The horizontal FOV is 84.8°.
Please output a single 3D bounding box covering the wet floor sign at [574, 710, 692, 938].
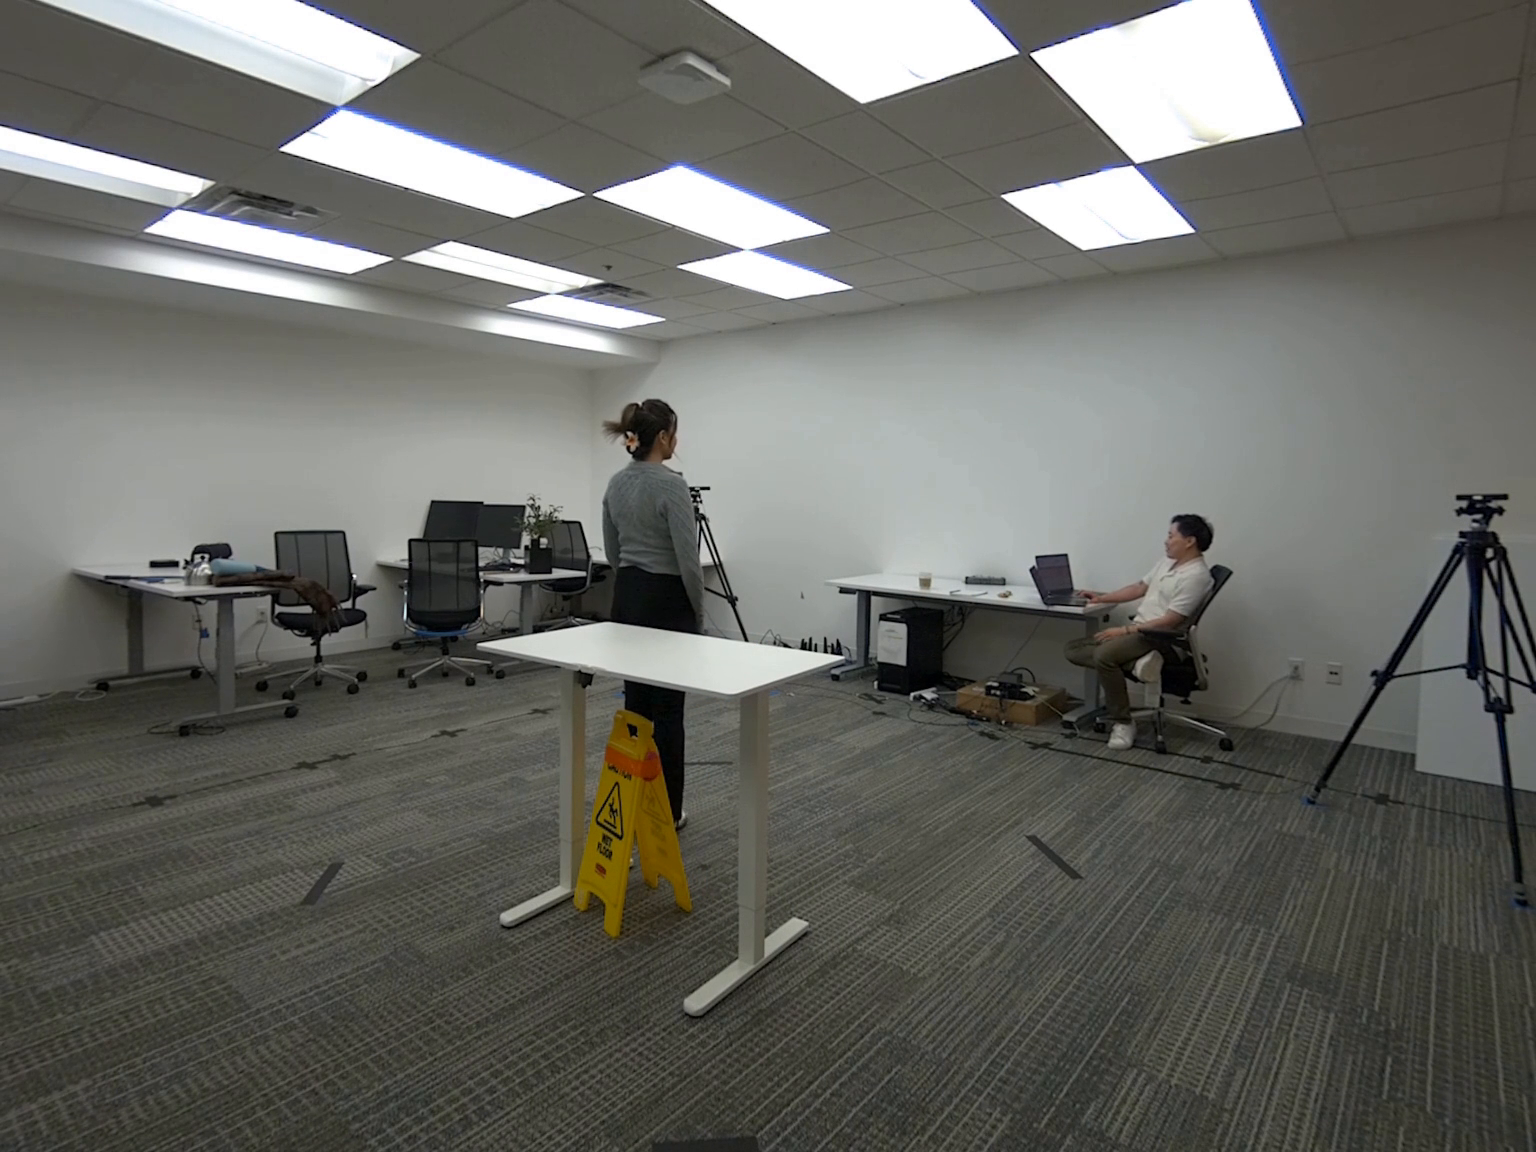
[{"bbox_3d":[-0.453,0.771,2.783,0.281,0.644,0.291,-3,4,-39],"label":"wet floor sign"}]
